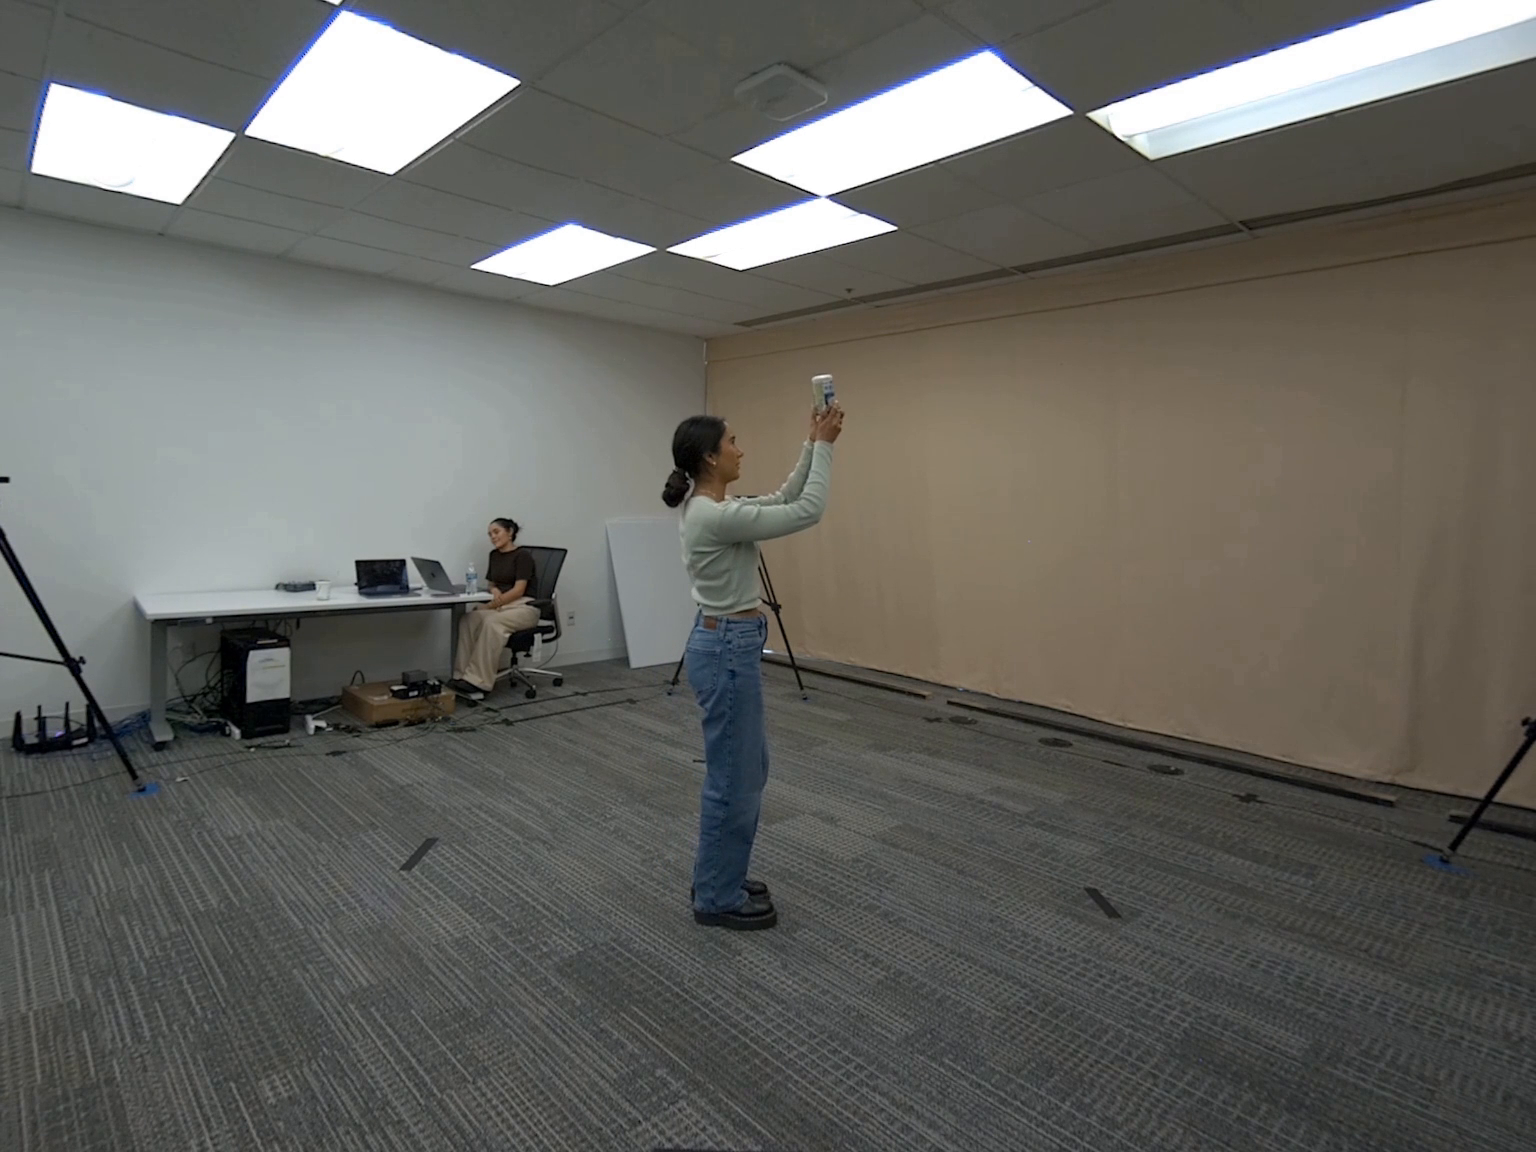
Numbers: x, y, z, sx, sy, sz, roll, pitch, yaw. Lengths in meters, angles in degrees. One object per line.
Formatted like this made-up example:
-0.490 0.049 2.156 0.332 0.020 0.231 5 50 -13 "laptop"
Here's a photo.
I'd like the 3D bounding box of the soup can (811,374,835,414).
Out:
0.177 -0.574 2.681 0.067 0.120 0.068 -6 14 0 "soup can"
